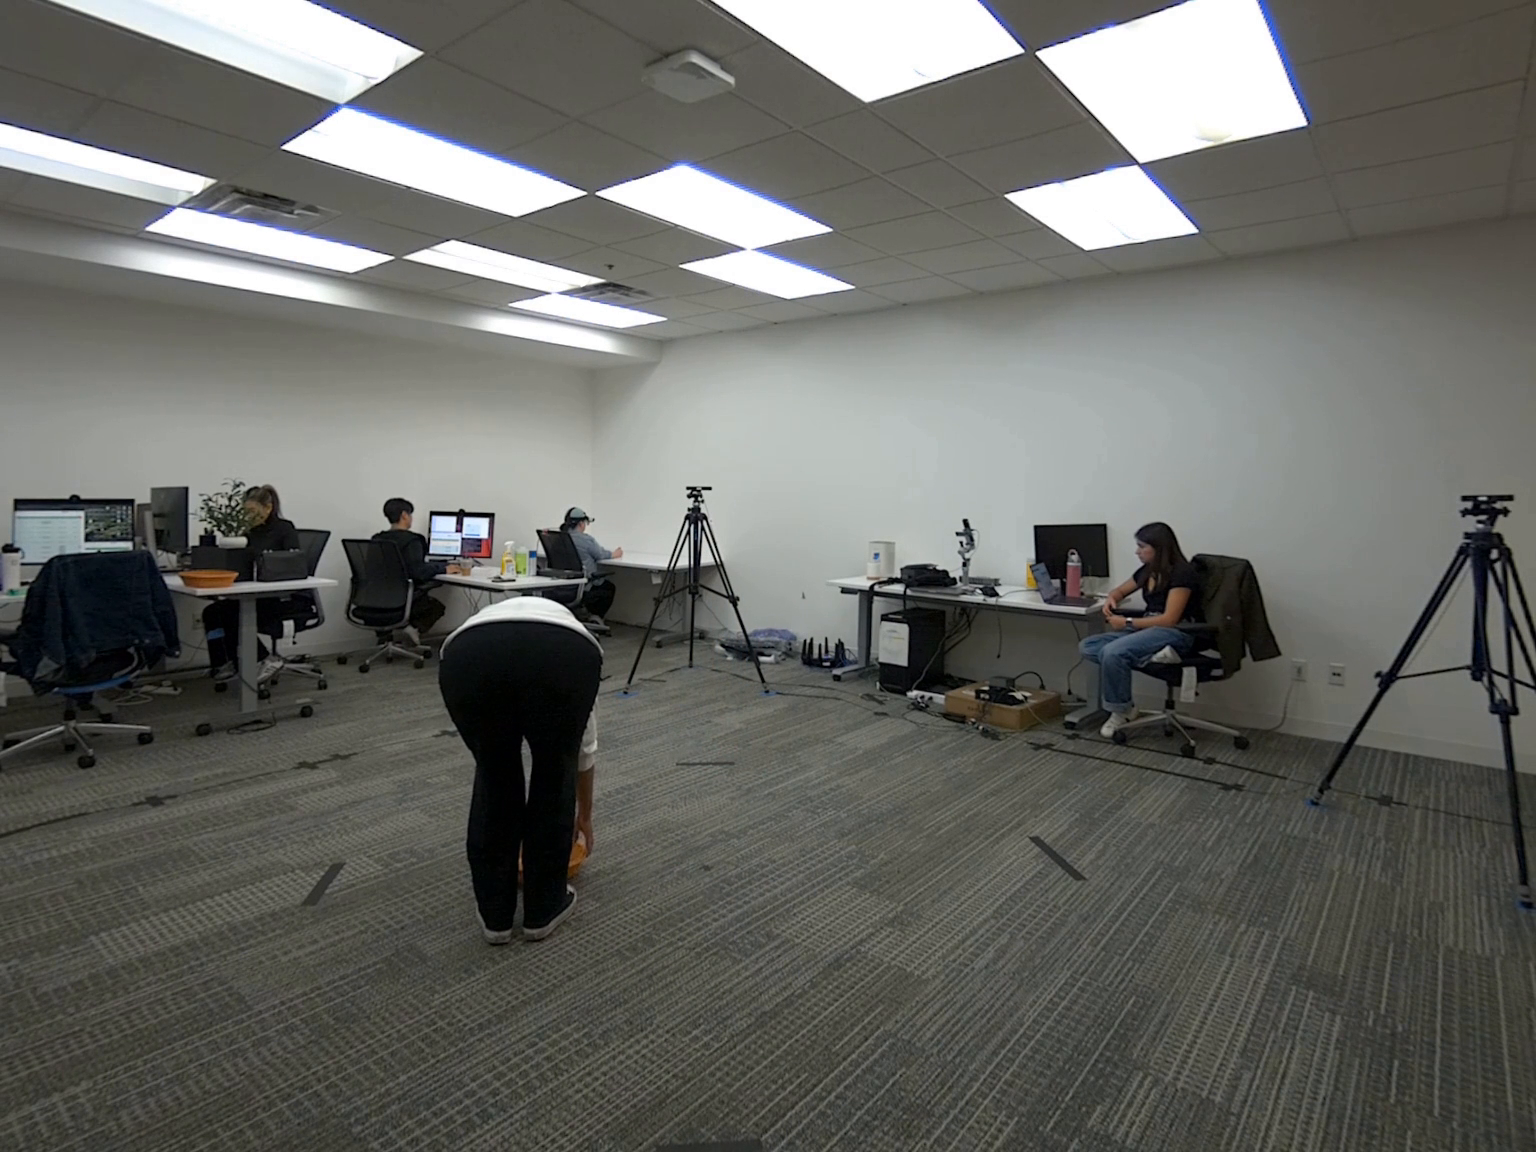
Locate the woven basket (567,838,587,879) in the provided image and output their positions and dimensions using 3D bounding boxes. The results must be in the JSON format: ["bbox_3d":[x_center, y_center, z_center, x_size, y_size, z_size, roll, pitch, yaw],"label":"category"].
[{"bbox_3d":[-0.818,0.997,3.019,0.349,0.073,0.254,1,8,-3],"label":"woven basket"}]
